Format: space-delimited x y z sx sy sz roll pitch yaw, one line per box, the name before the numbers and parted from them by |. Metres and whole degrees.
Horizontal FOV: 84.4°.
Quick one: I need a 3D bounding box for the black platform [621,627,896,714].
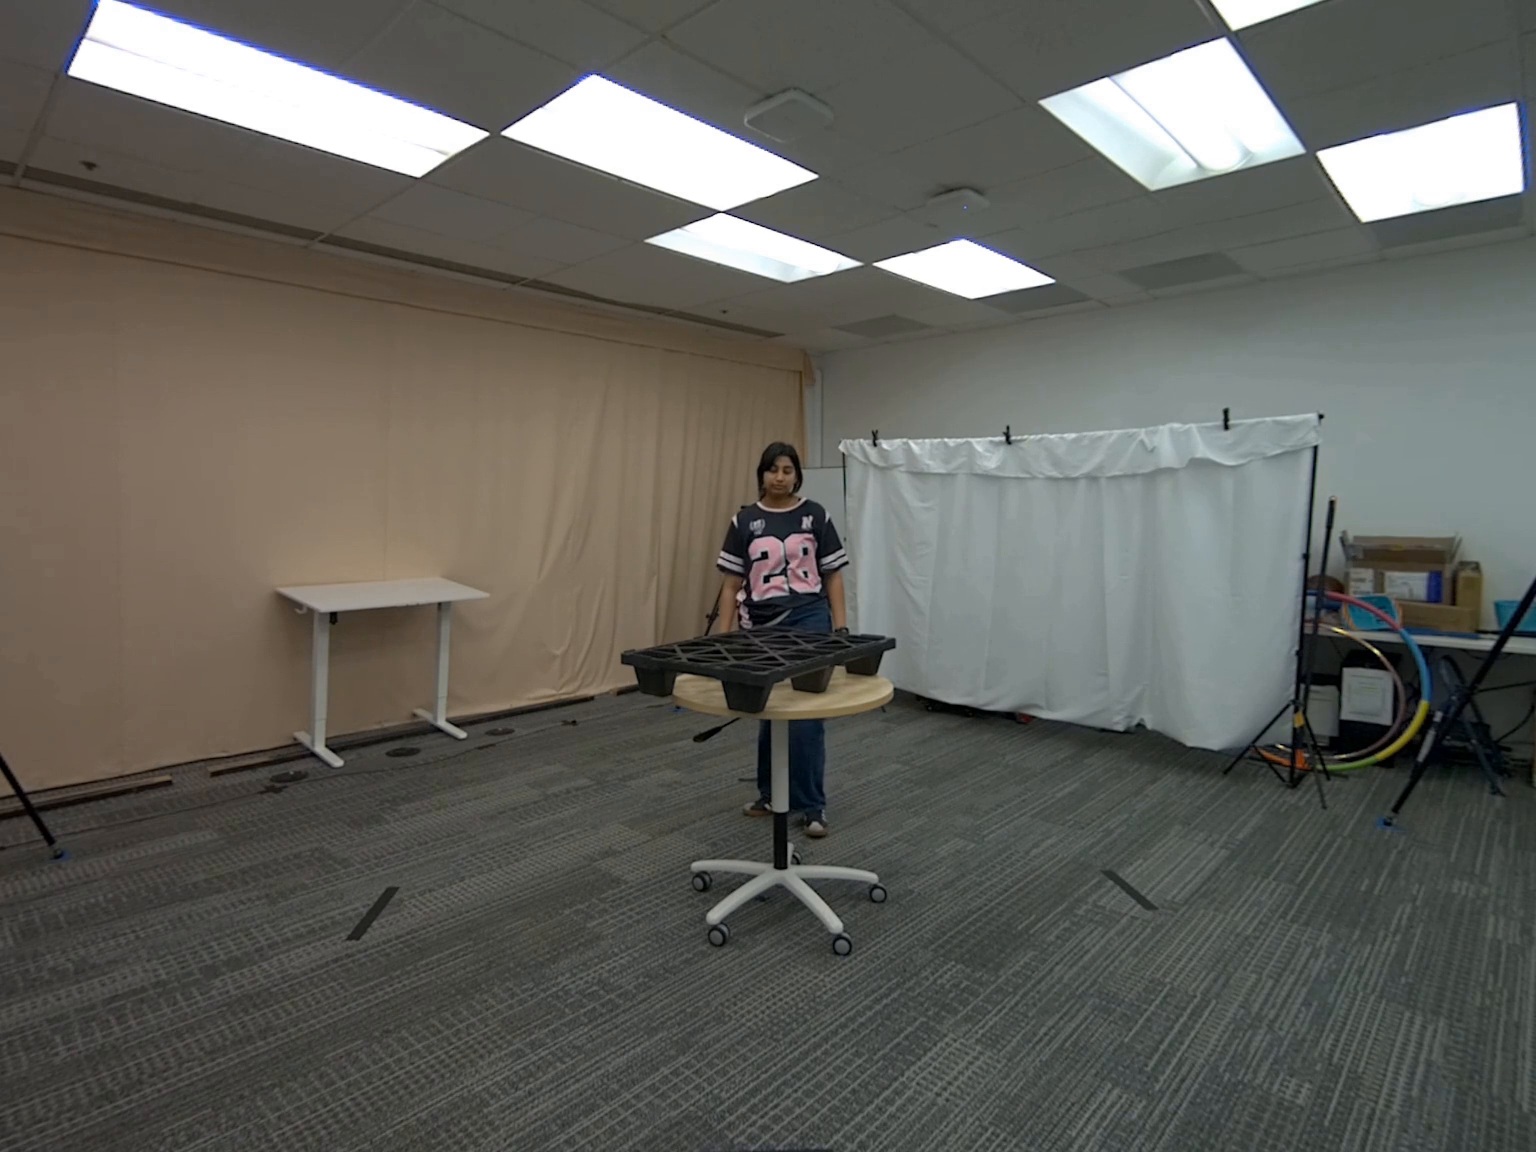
black platform | -0.021 0.307 2.887 0.625 0.143 0.781 2 5 38
